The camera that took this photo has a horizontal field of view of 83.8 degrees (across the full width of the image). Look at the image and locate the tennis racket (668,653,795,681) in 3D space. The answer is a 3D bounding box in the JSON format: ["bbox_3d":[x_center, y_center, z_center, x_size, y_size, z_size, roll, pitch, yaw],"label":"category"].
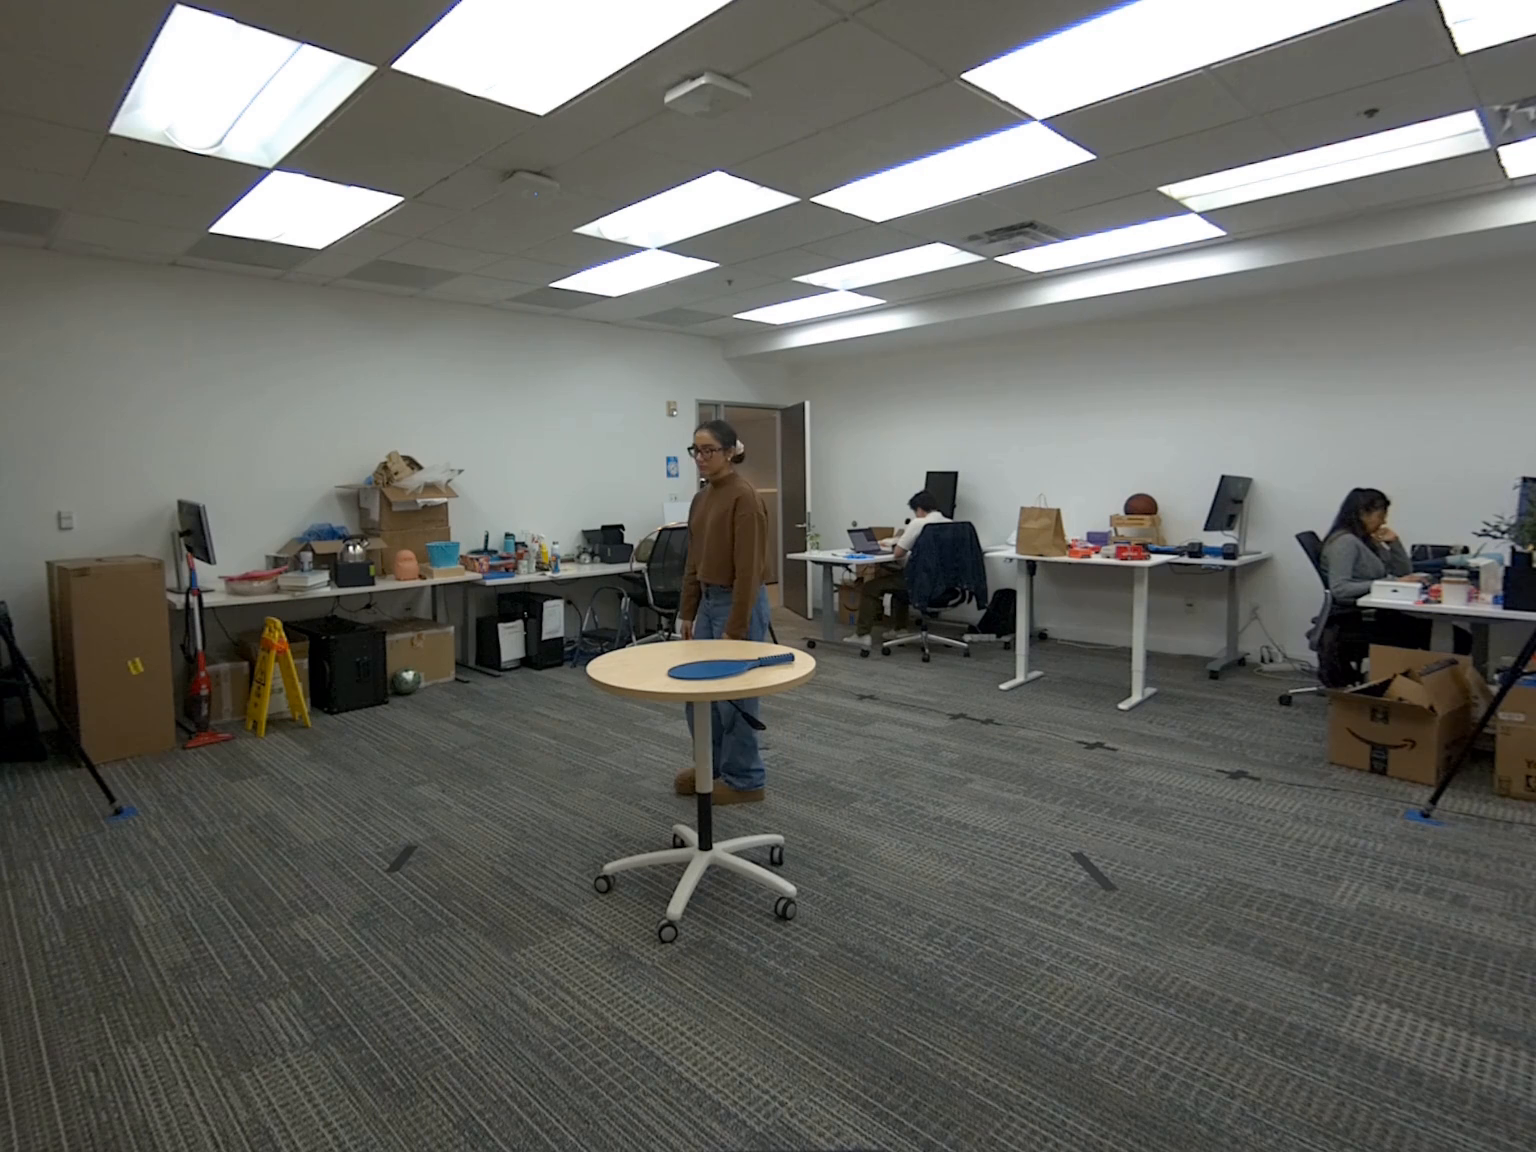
[{"bbox_3d":[-0.121,0.294,2.769,0.425,0.031,0.219,-6,9,-23],"label":"tennis racket"}]
